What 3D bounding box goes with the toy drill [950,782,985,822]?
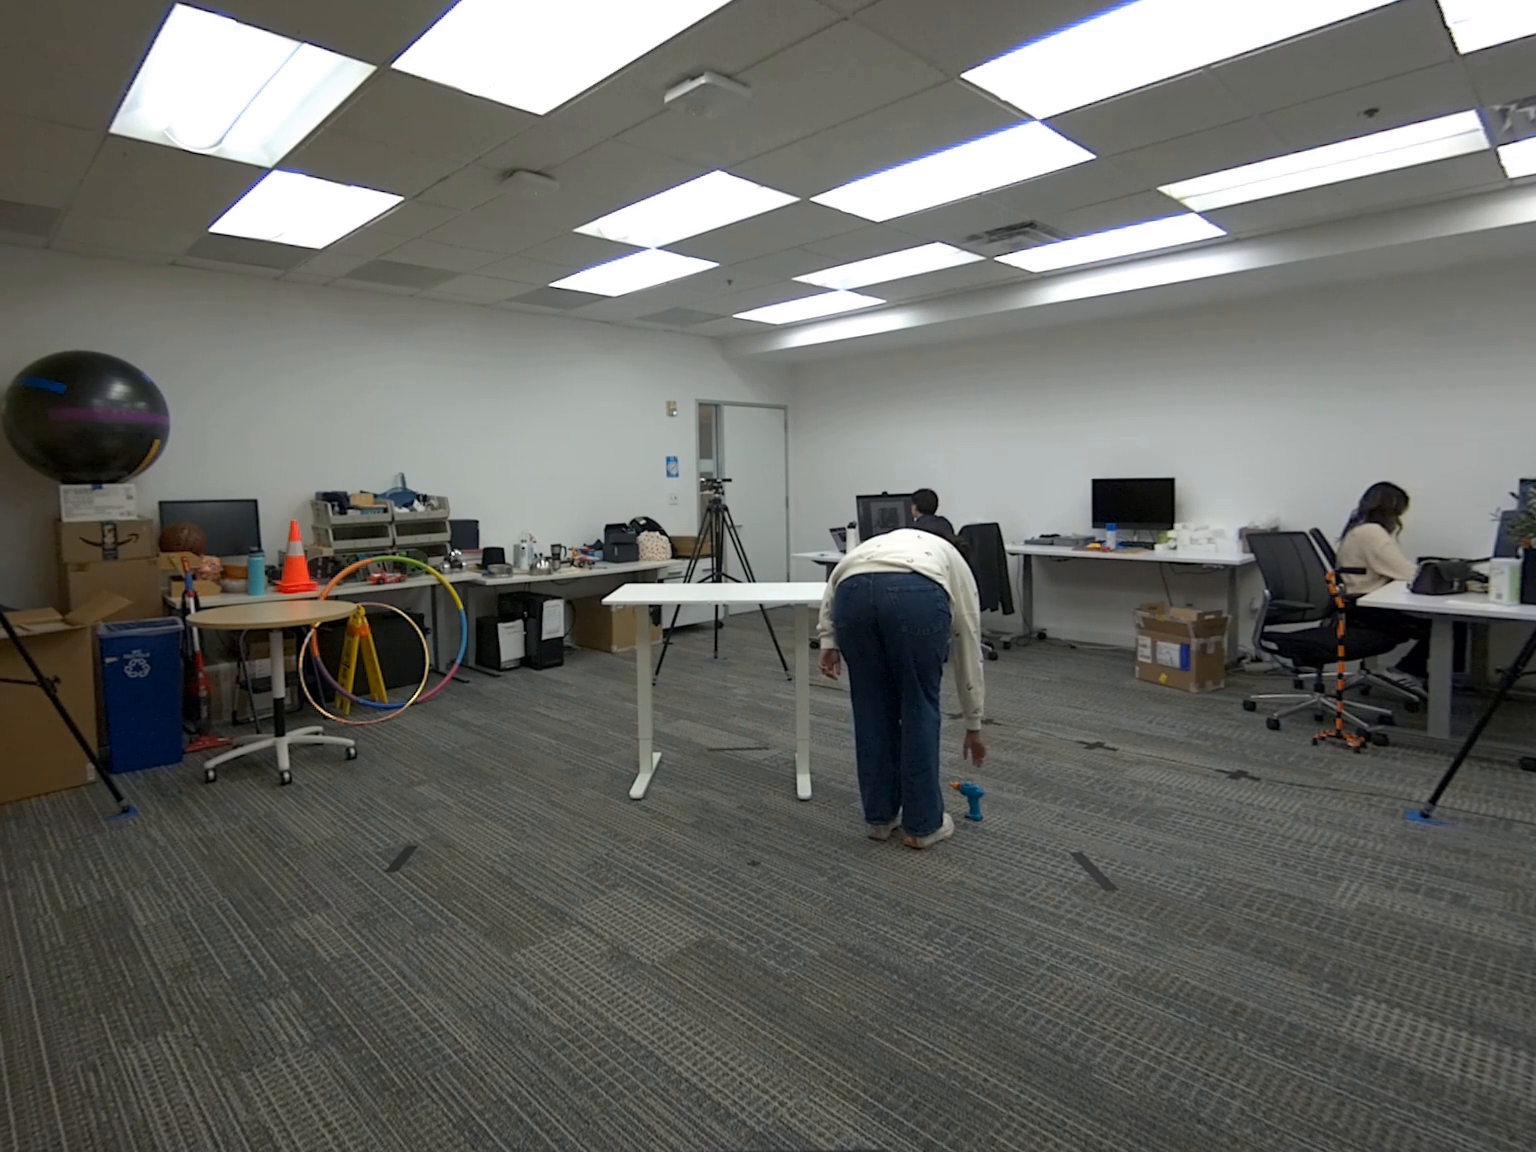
[{"bbox_3d":[0.816,0.913,3.510,0.059,0.146,0.175,0,3,-44],"label":"toy drill"}]
